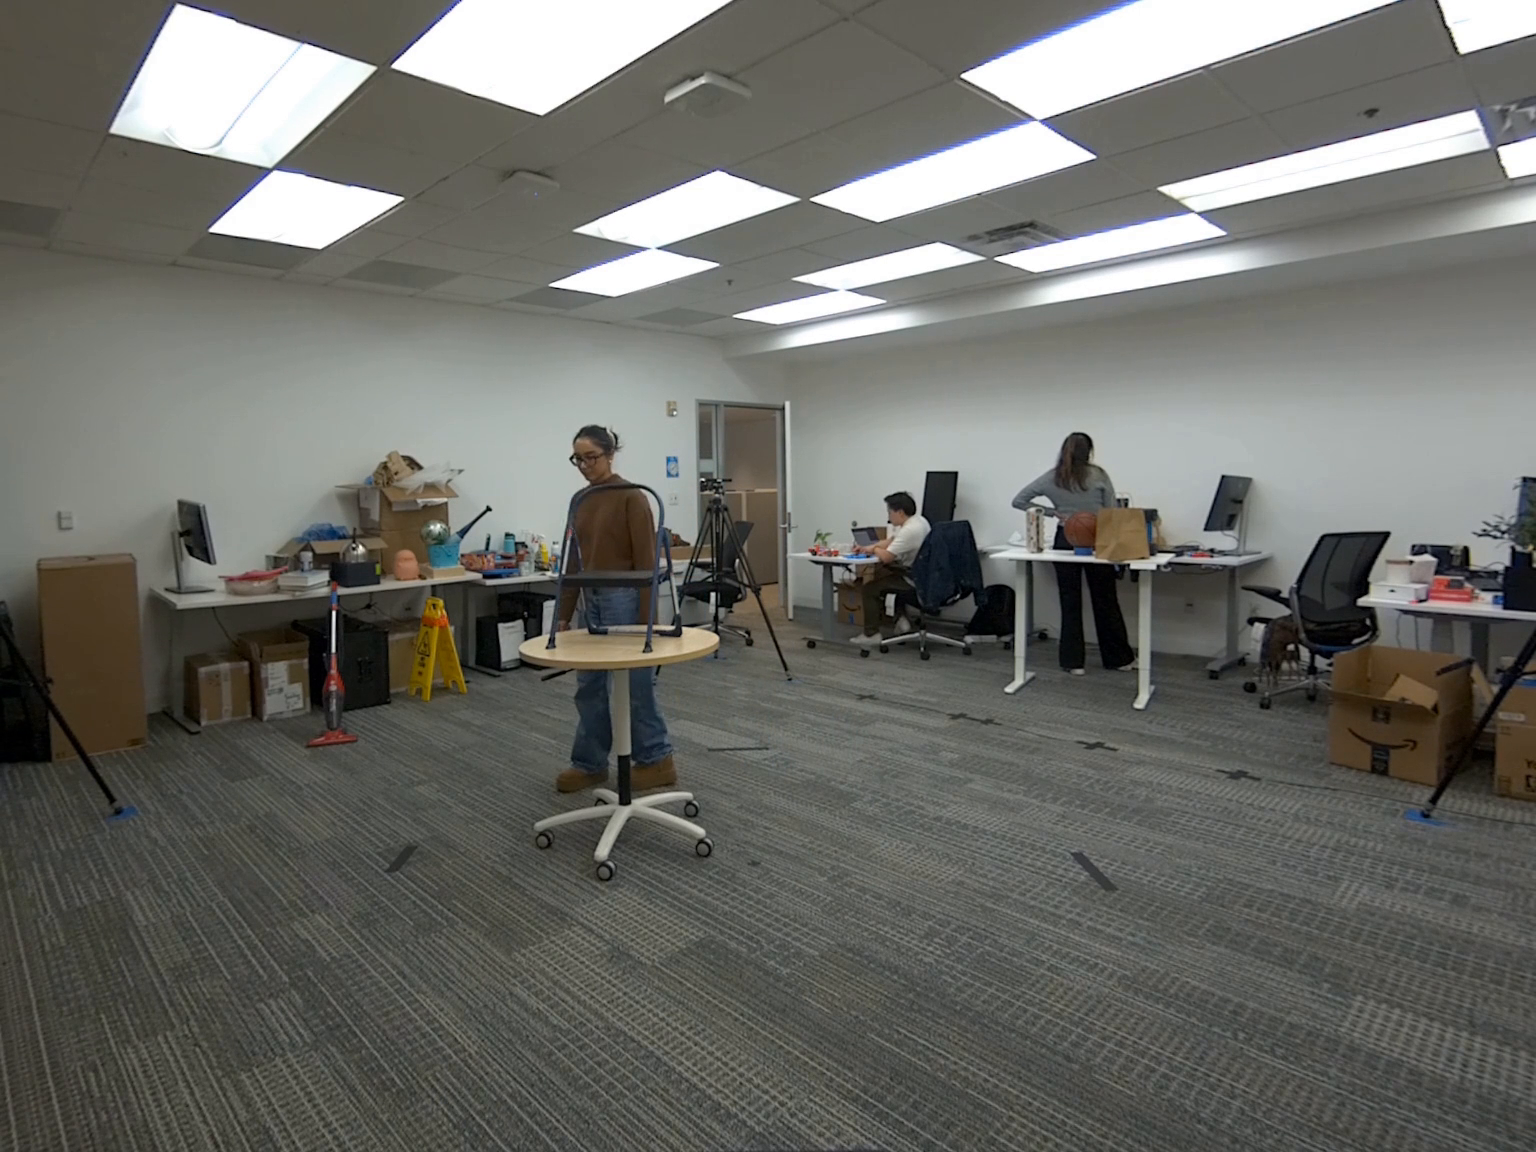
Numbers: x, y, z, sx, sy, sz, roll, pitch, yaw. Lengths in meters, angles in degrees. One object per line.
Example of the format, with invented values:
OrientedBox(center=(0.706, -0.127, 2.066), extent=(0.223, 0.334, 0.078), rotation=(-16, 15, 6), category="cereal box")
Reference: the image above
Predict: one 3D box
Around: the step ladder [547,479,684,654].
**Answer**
OrientedBox(center=(-0.590, -0.045, 3.268), extent=(0.438, 0.604, 0.344), rotation=(0, 4, 19), category="step ladder")
